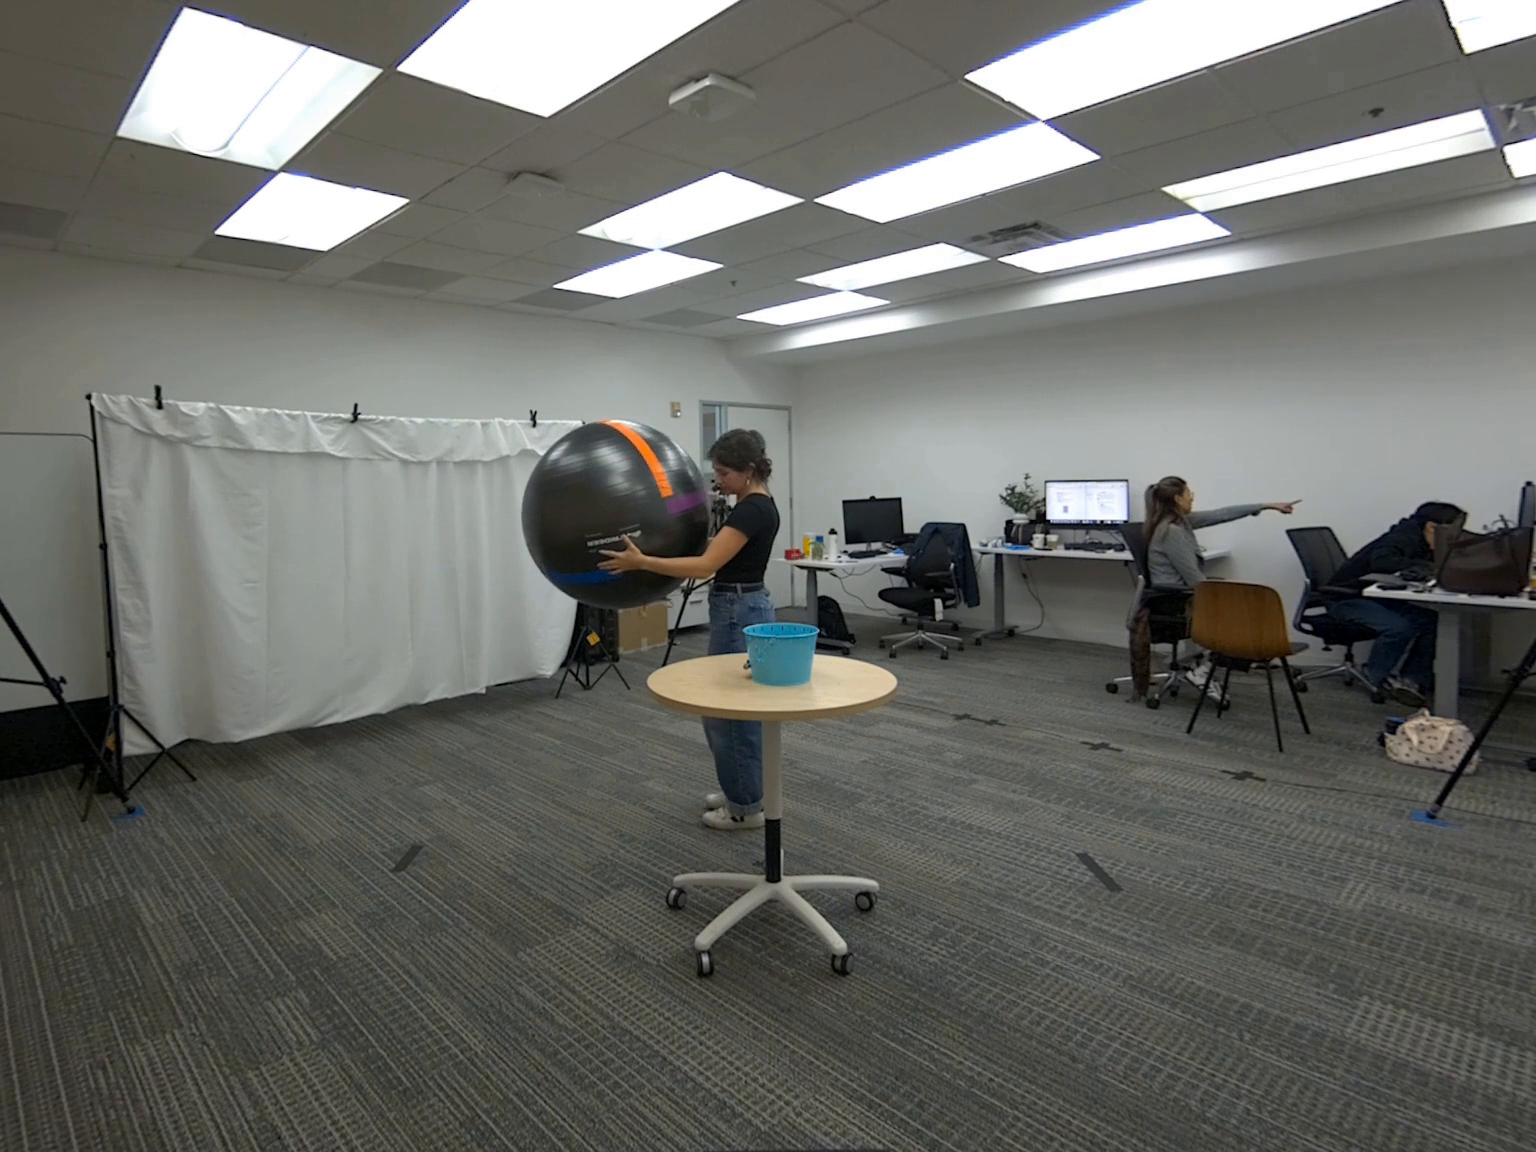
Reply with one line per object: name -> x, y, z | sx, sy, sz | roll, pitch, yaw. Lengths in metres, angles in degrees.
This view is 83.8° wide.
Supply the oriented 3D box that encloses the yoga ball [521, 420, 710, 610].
yoga ball -> -0.626, -0.236, 3.461 | 0.757, 0.755, 0.762 | -1, 5, -2
